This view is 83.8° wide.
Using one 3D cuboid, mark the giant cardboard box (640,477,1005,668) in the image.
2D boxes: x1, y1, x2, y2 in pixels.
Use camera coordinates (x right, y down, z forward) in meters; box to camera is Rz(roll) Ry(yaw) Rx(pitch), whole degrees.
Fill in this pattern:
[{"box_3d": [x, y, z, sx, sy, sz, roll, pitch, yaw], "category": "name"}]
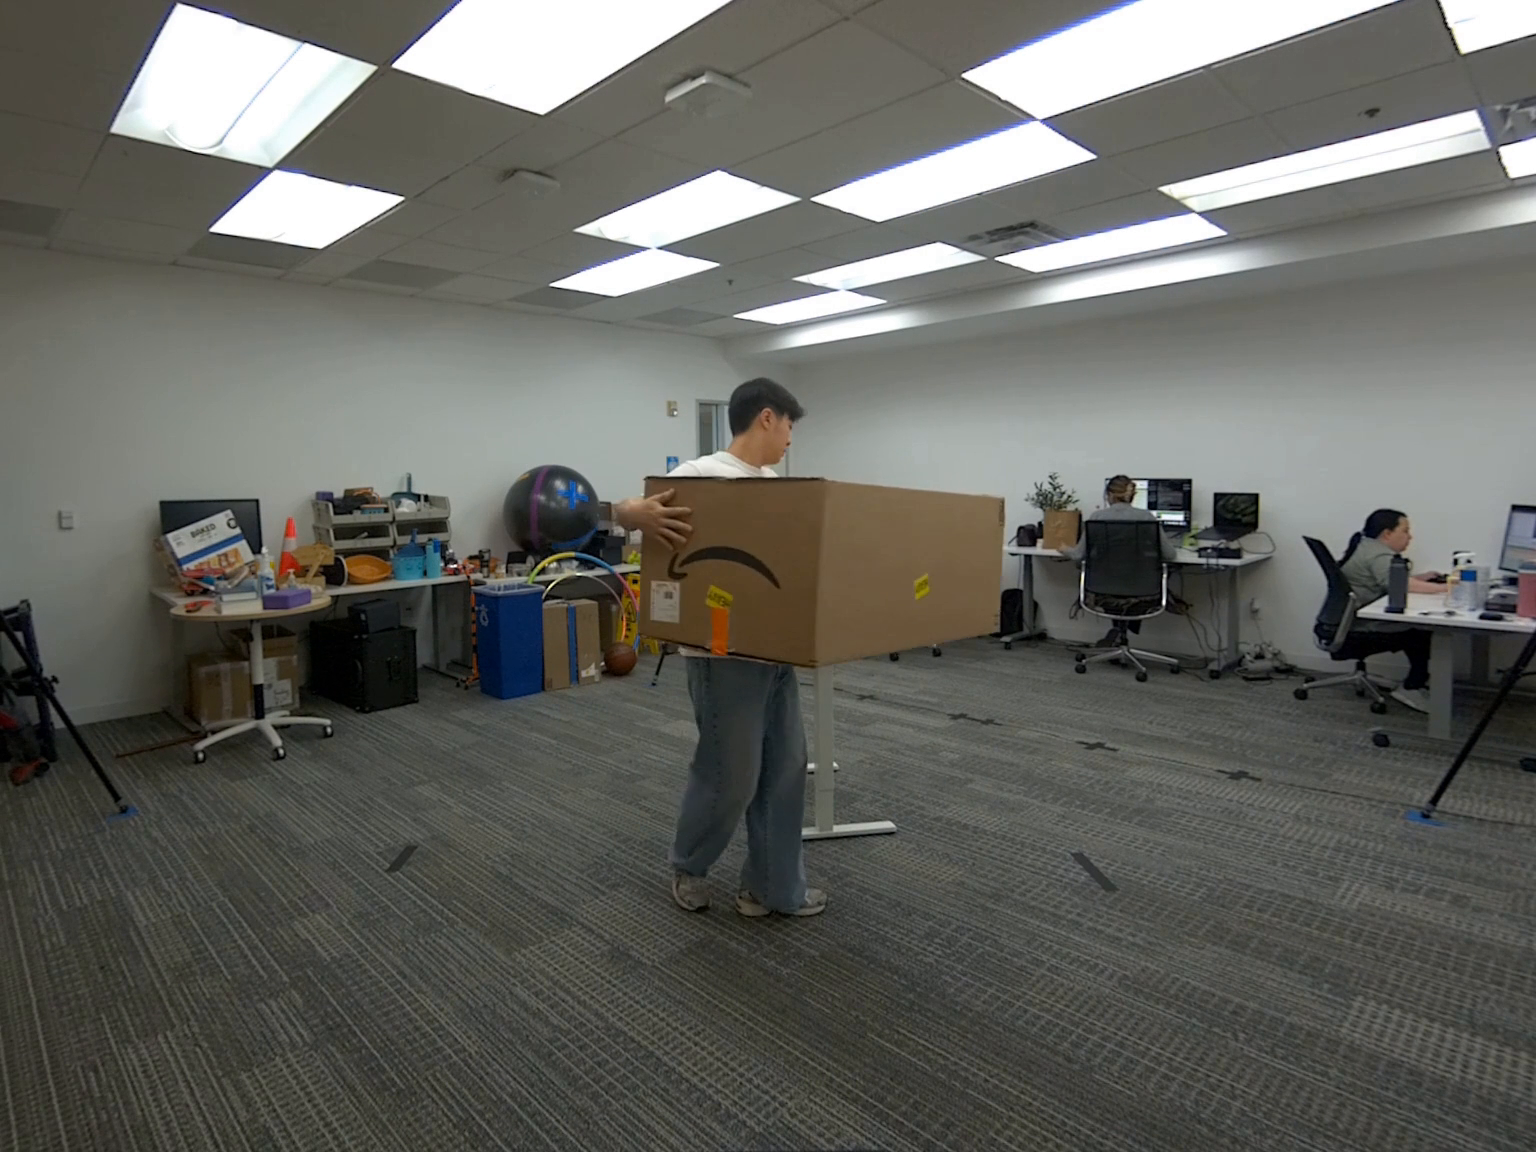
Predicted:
[{"box_3d": [0.196, -0.038, 2.454, 0.595, 0.425, 0.997, 4, 4, 38], "category": "giant cardboard box"}]
